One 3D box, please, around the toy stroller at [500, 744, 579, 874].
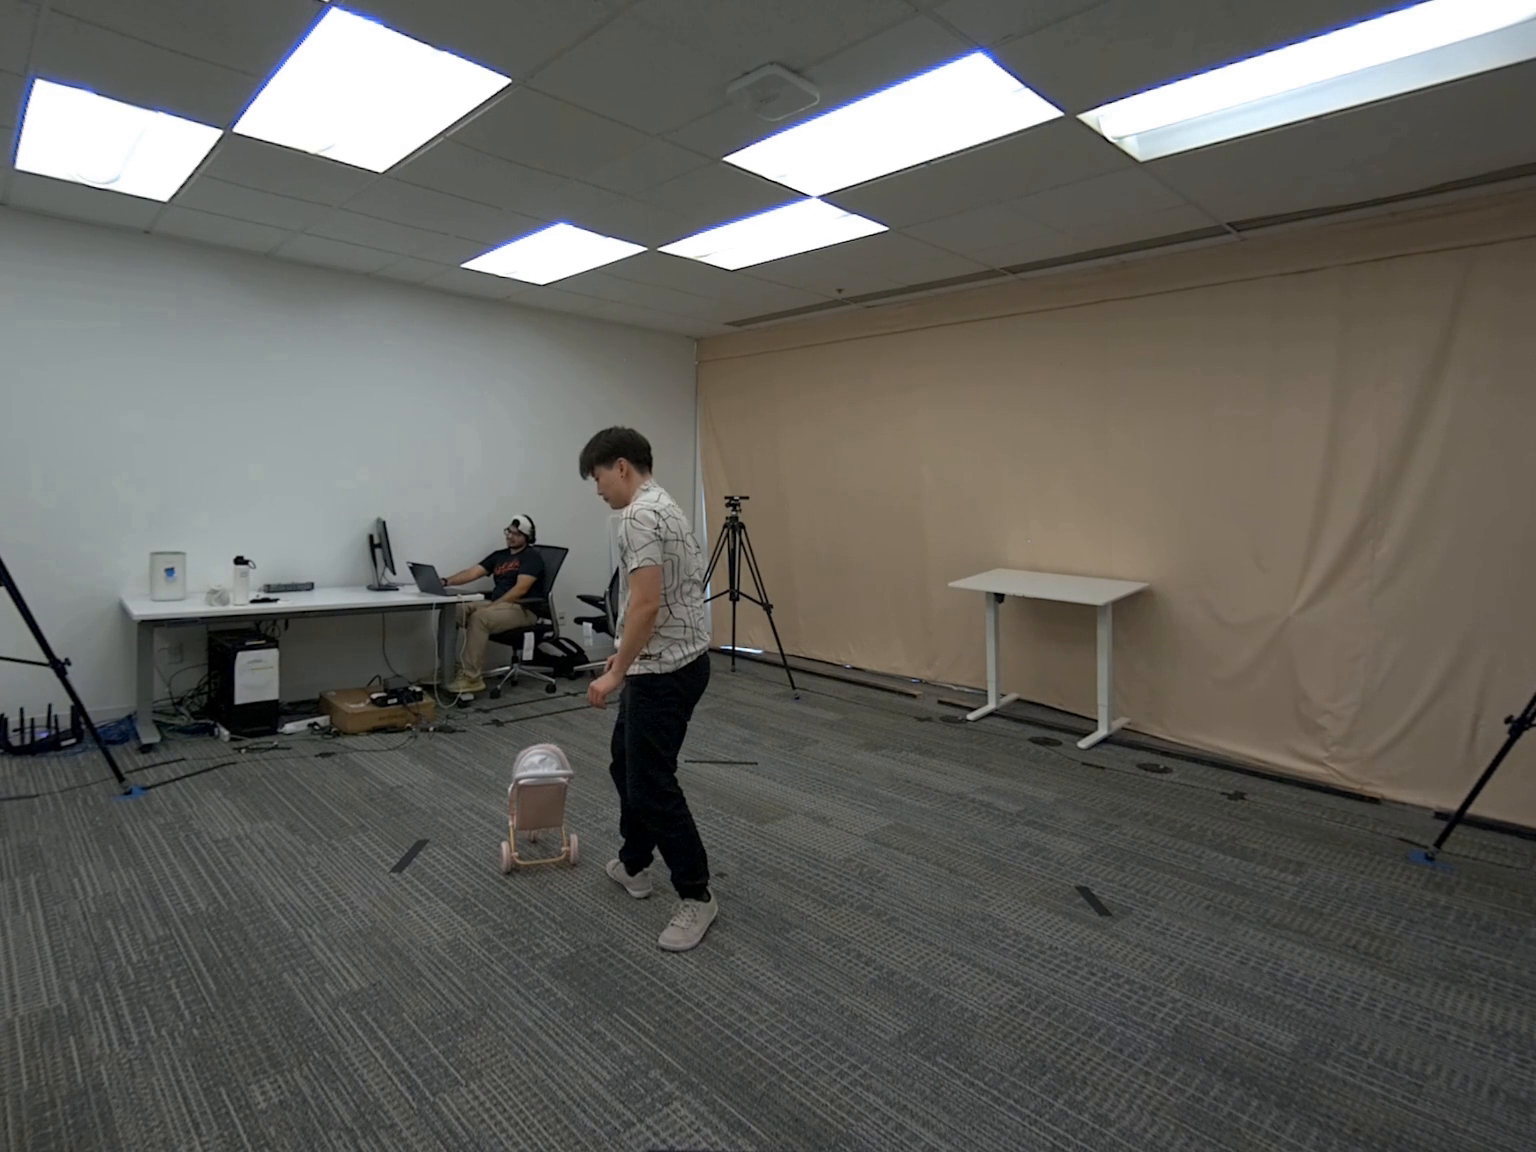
[{"bbox_3d":[-0.867,0.859,3.174,0.278,0.528,0.350,1,22,-17],"label":"toy stroller"}]
